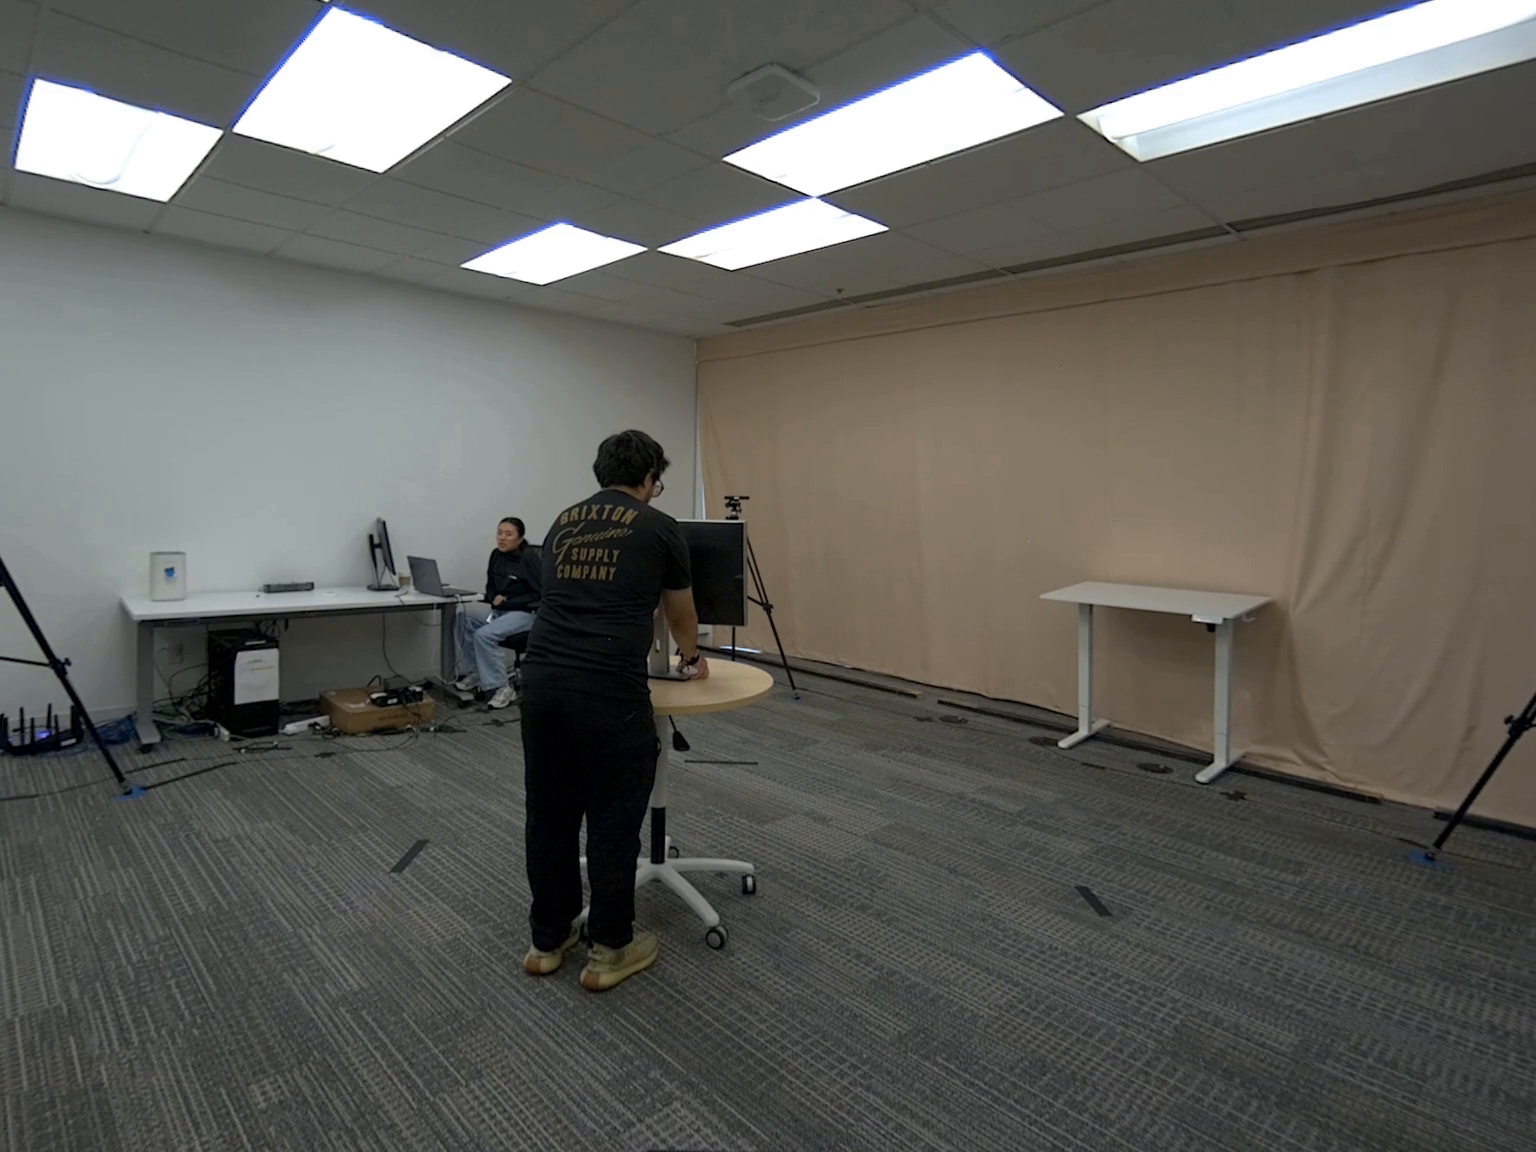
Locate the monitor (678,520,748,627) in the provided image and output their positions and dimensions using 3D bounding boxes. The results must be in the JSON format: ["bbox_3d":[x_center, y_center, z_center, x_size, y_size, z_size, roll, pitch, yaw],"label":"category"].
[{"bbox_3d":[-0.364,0.079,2.878,0.574,0.552,0.208,2,5,19],"label":"monitor"}]
